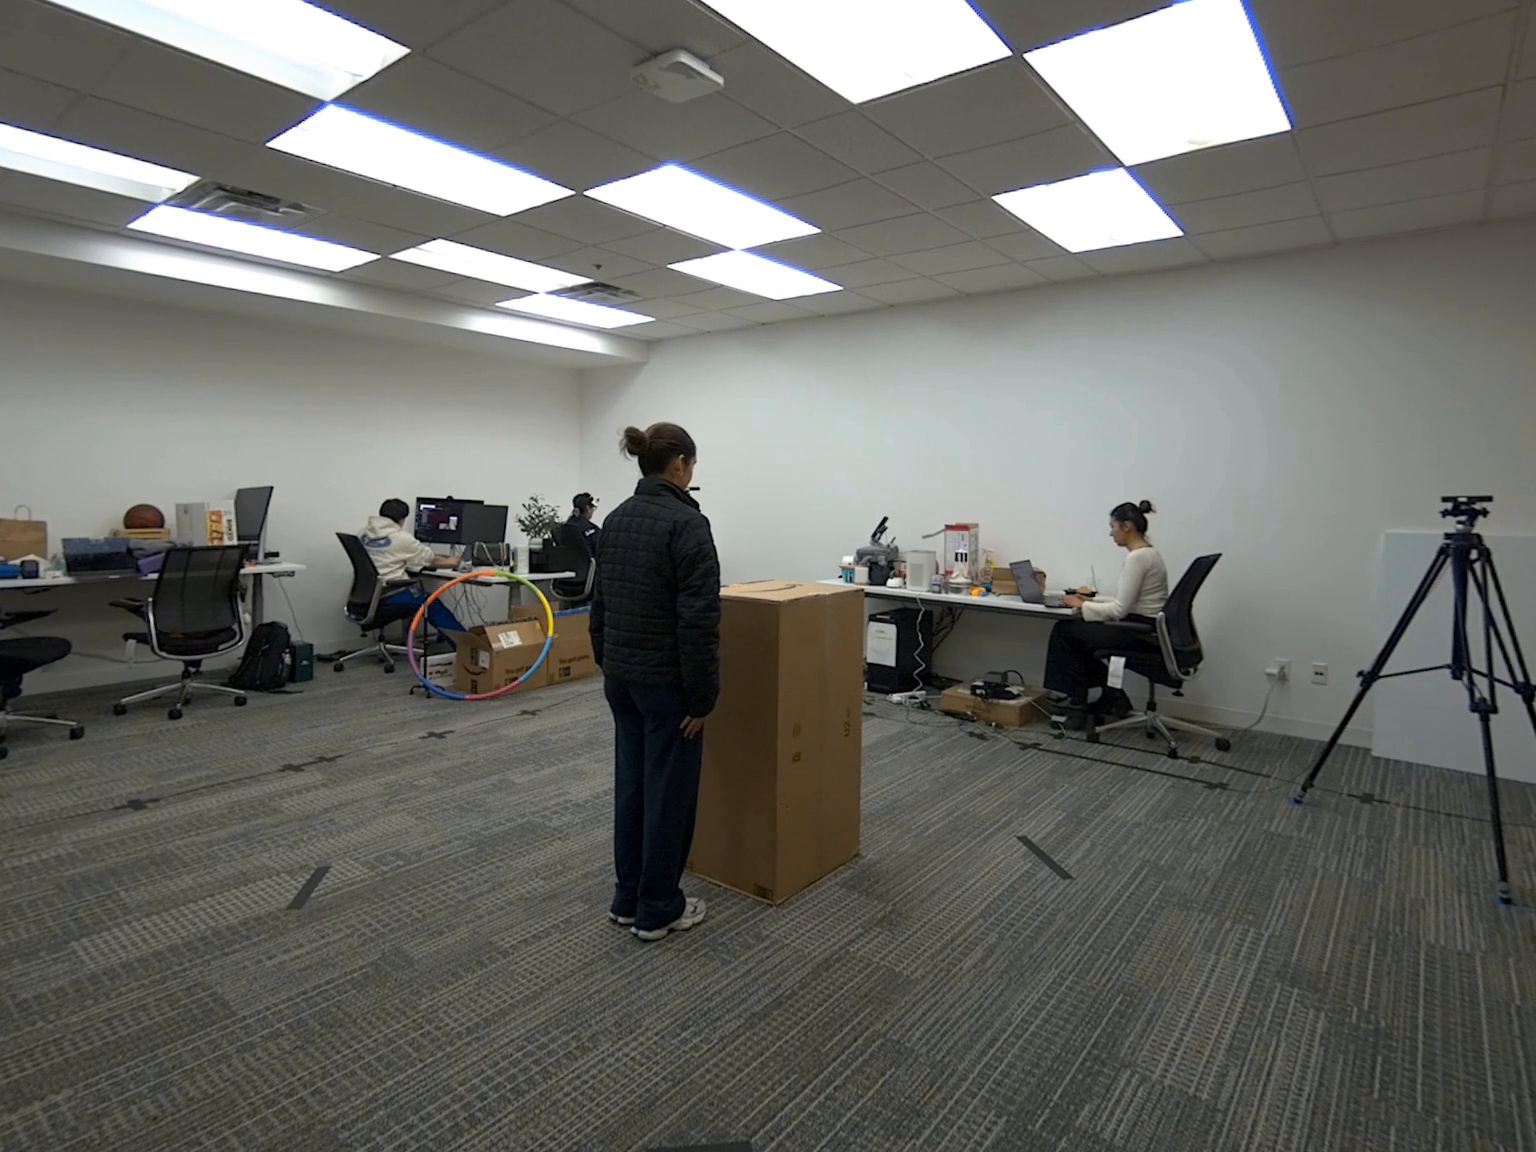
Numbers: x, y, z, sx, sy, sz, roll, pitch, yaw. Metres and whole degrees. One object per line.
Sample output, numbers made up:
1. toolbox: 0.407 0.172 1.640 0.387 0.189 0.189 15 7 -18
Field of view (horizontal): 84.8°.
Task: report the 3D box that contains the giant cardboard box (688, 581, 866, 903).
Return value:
1. giant cardboard box: 0.042 0.557 3.166 0.440 1.023 0.560 3 4 38
